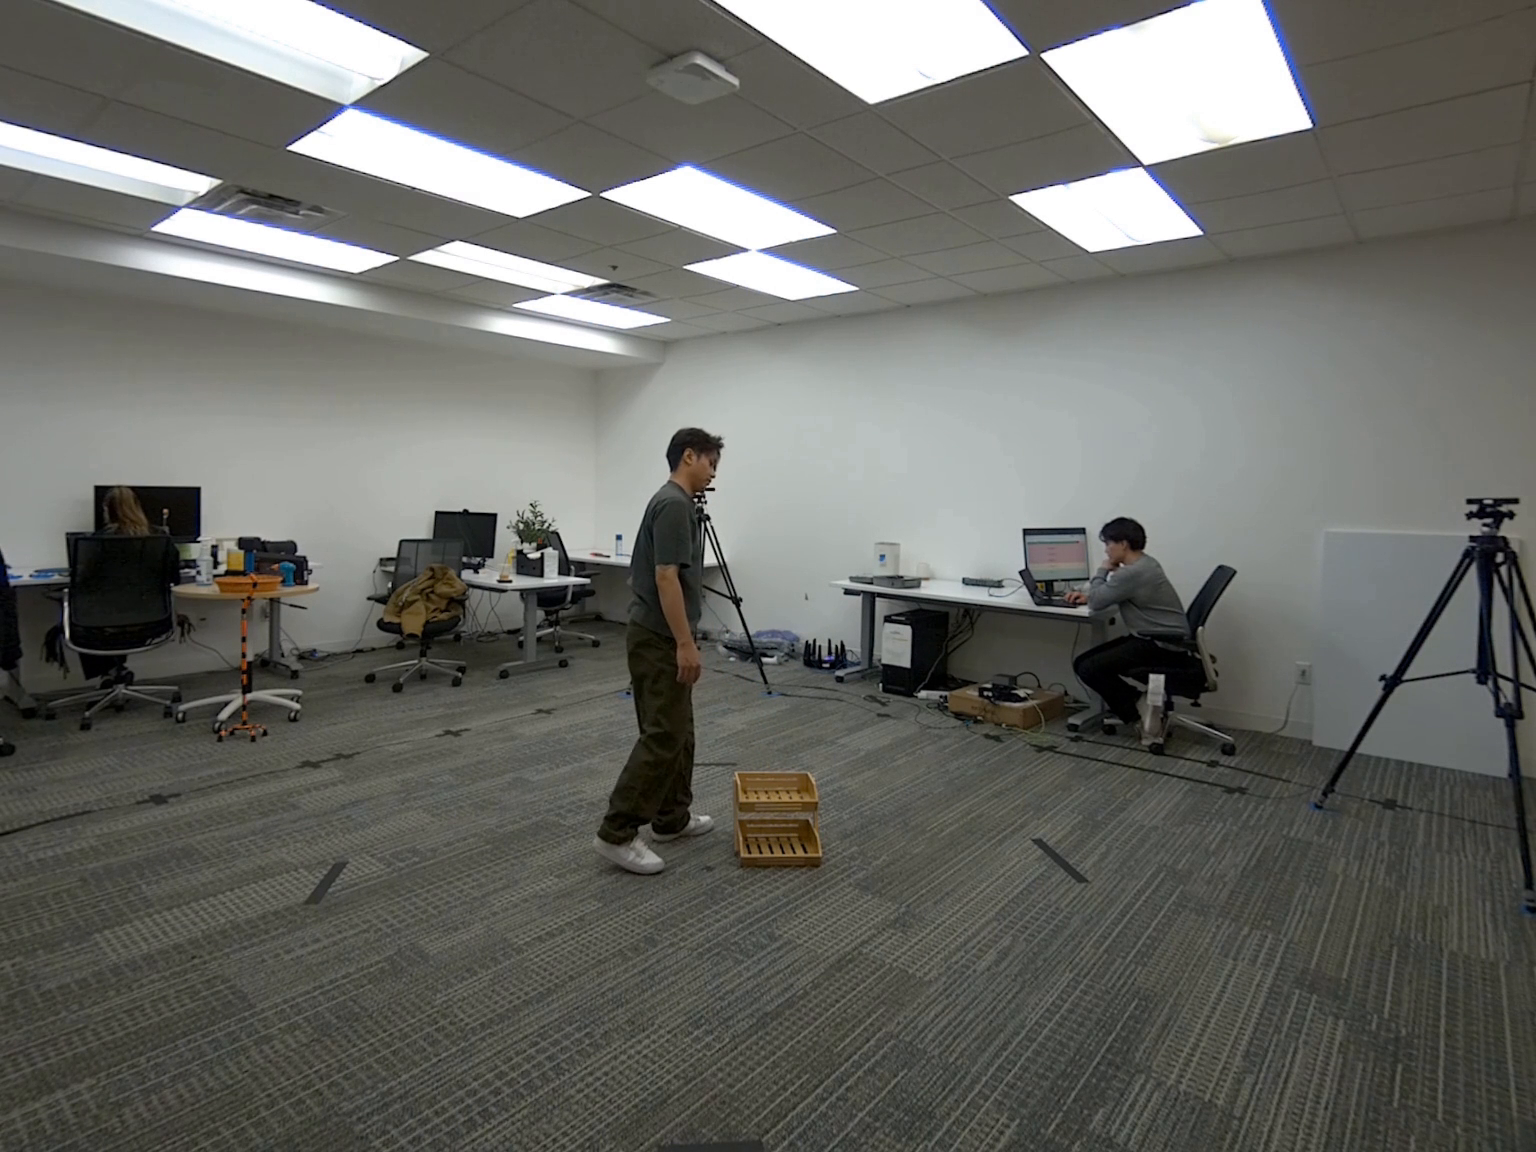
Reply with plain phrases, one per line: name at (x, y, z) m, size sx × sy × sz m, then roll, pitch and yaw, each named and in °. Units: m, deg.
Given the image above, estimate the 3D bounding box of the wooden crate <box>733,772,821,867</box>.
wooden crate at (0.031, 0.927, 3.258) m, size 0.322 × 0.272 × 0.305 m, roll 1°, pitch 4°, yaw -7°
